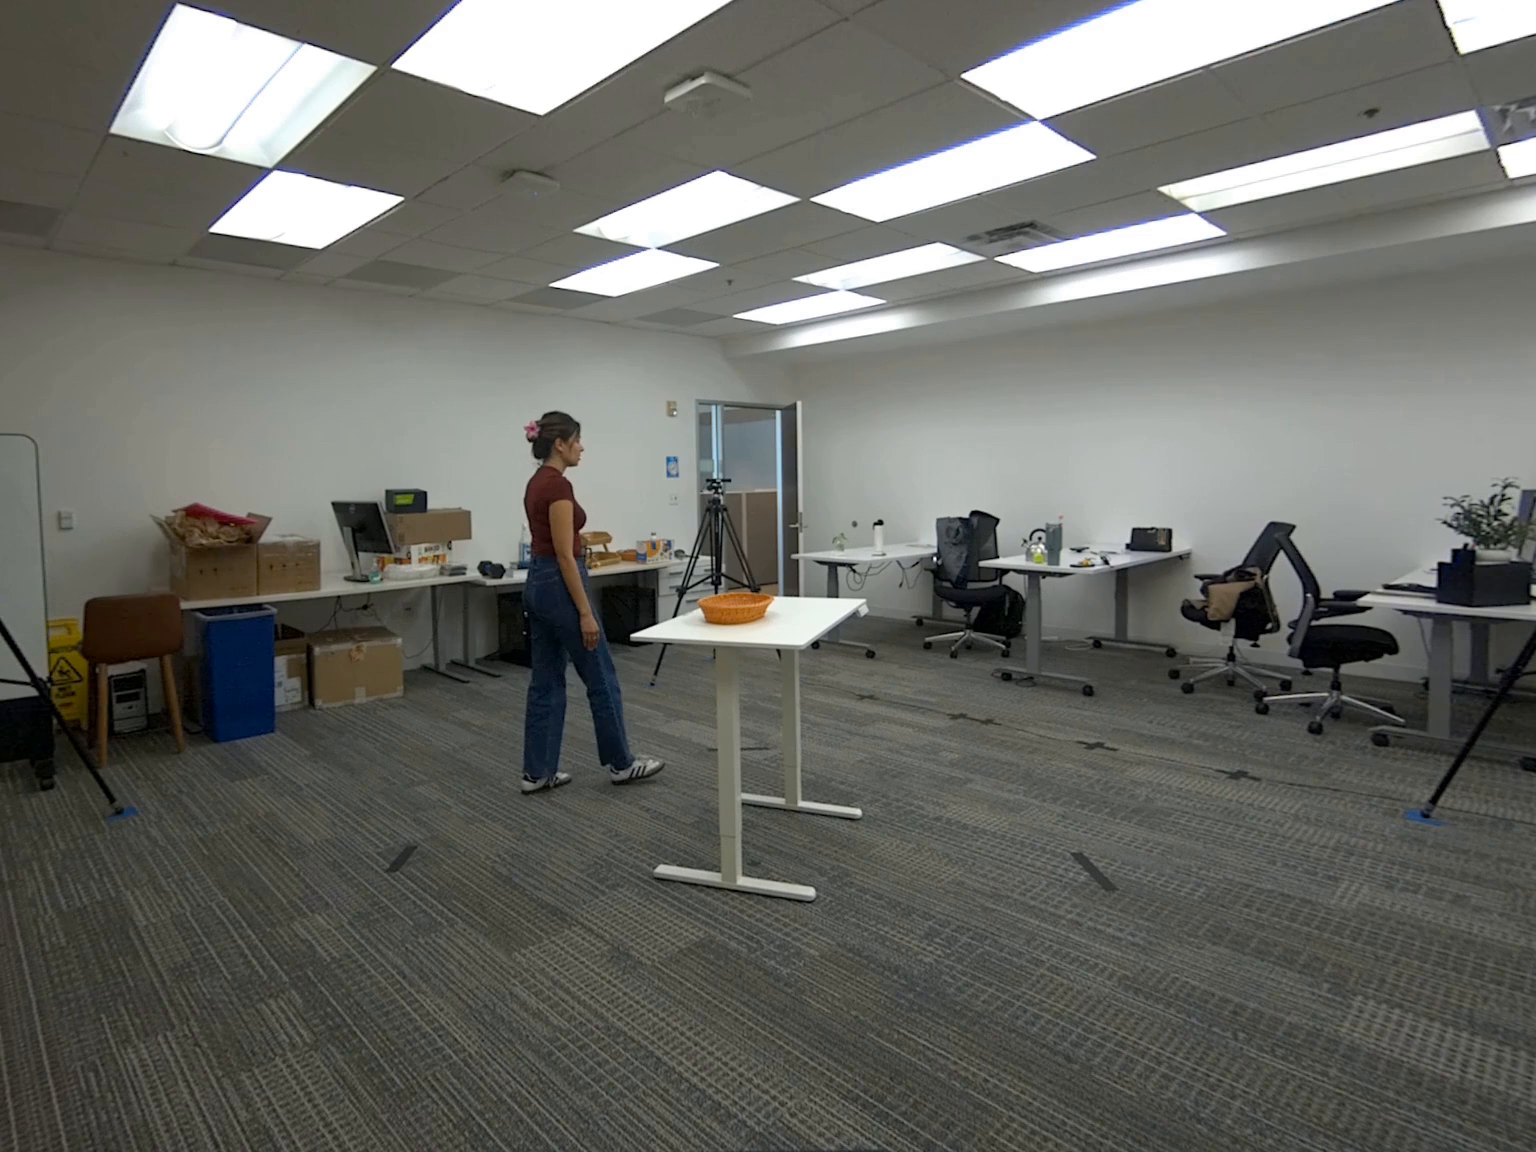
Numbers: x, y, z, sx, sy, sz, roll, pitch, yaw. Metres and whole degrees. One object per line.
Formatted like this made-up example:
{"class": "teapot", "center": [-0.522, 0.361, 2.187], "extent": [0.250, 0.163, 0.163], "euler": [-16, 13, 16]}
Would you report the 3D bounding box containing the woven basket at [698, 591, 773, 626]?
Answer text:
{"class": "woven basket", "center": [-0.120, 0.128, 3.170], "extent": [0.258, 0.073, 0.344], "euler": [3, 7, 22]}
